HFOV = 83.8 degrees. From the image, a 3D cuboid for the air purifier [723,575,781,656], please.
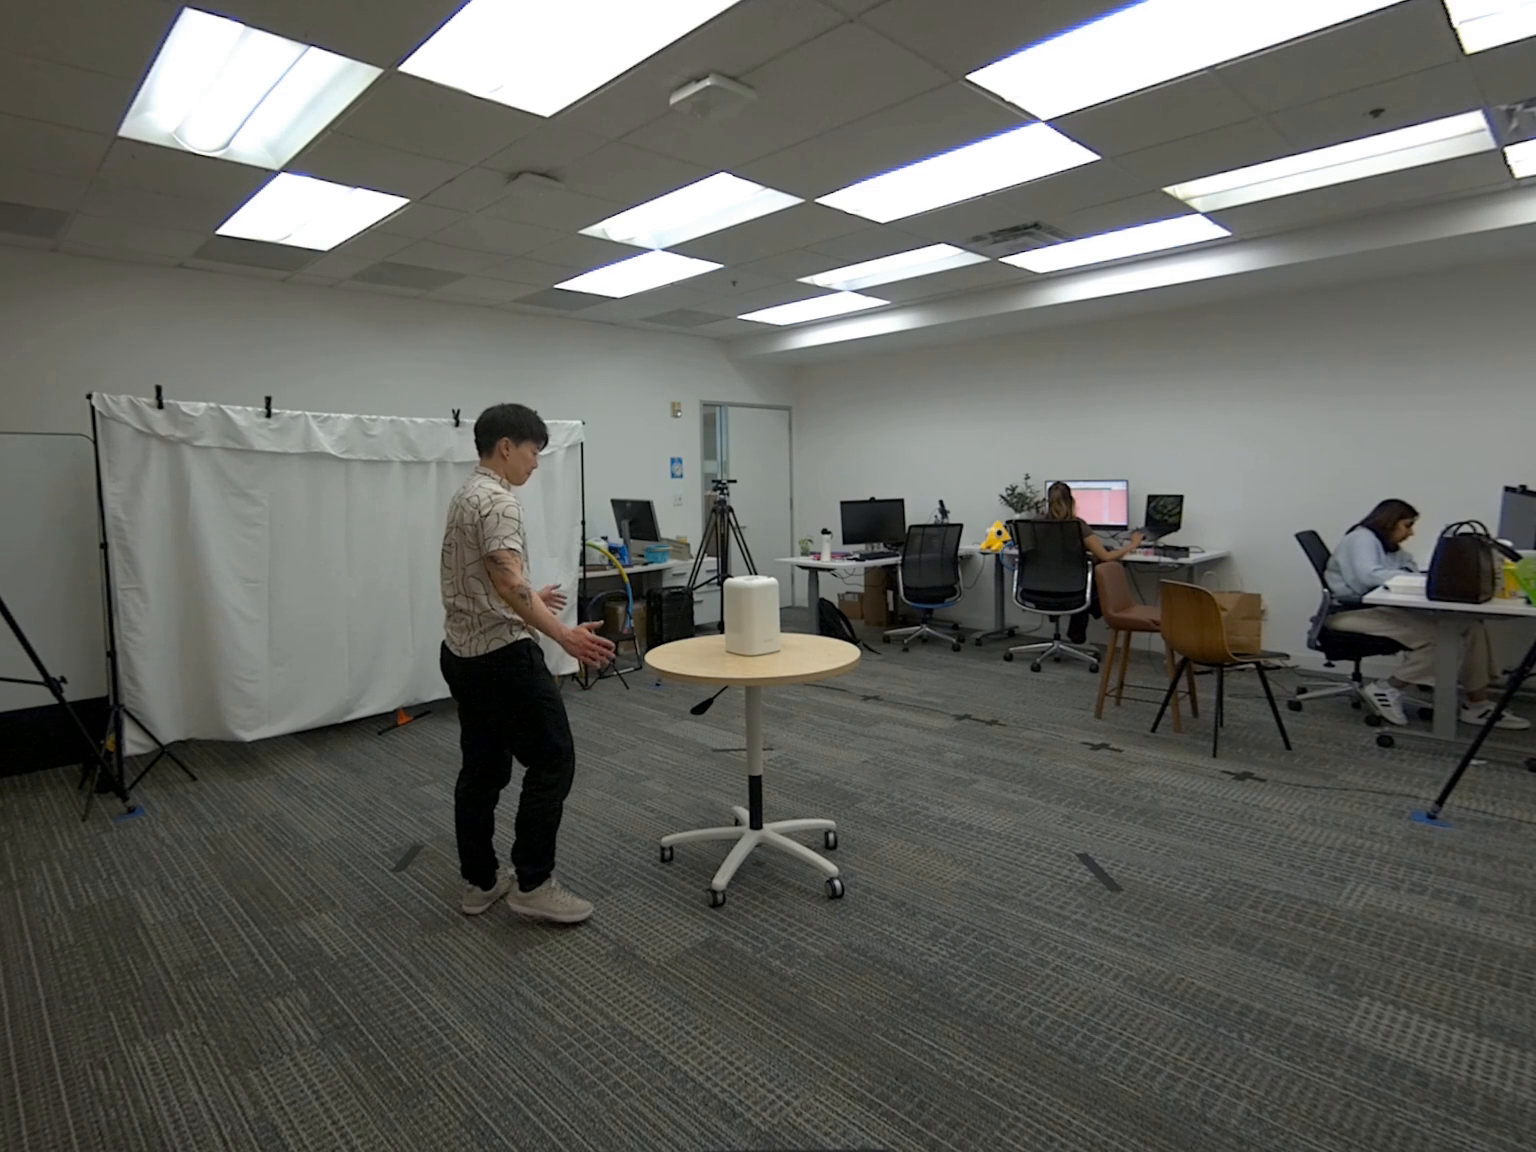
[{"bbox_3d":[-0.054,0.134,3.074,0.167,0.264,0.177,-3,5,-36],"label":"air purifier"}]
